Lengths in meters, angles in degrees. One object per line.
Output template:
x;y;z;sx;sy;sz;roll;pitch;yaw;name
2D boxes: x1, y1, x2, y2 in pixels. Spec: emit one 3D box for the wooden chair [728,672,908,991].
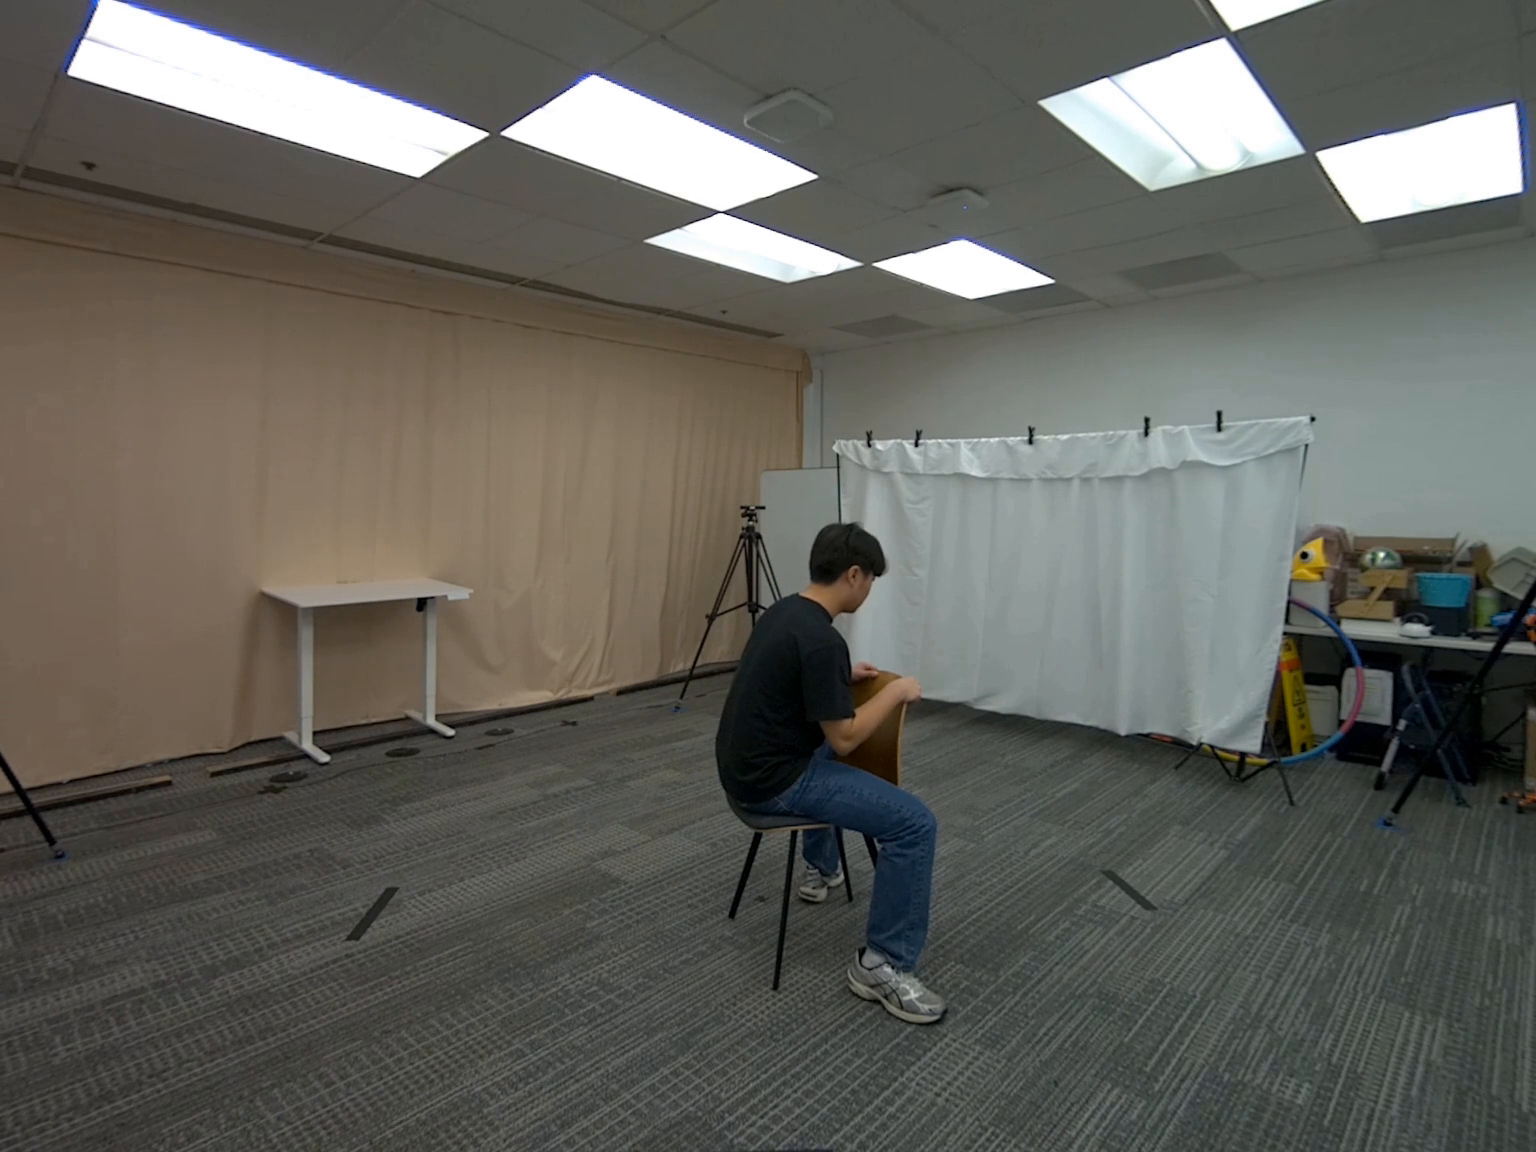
0.151;0.744;2.665;0.513;0.876;0.488;3;3;-18;wooden chair
